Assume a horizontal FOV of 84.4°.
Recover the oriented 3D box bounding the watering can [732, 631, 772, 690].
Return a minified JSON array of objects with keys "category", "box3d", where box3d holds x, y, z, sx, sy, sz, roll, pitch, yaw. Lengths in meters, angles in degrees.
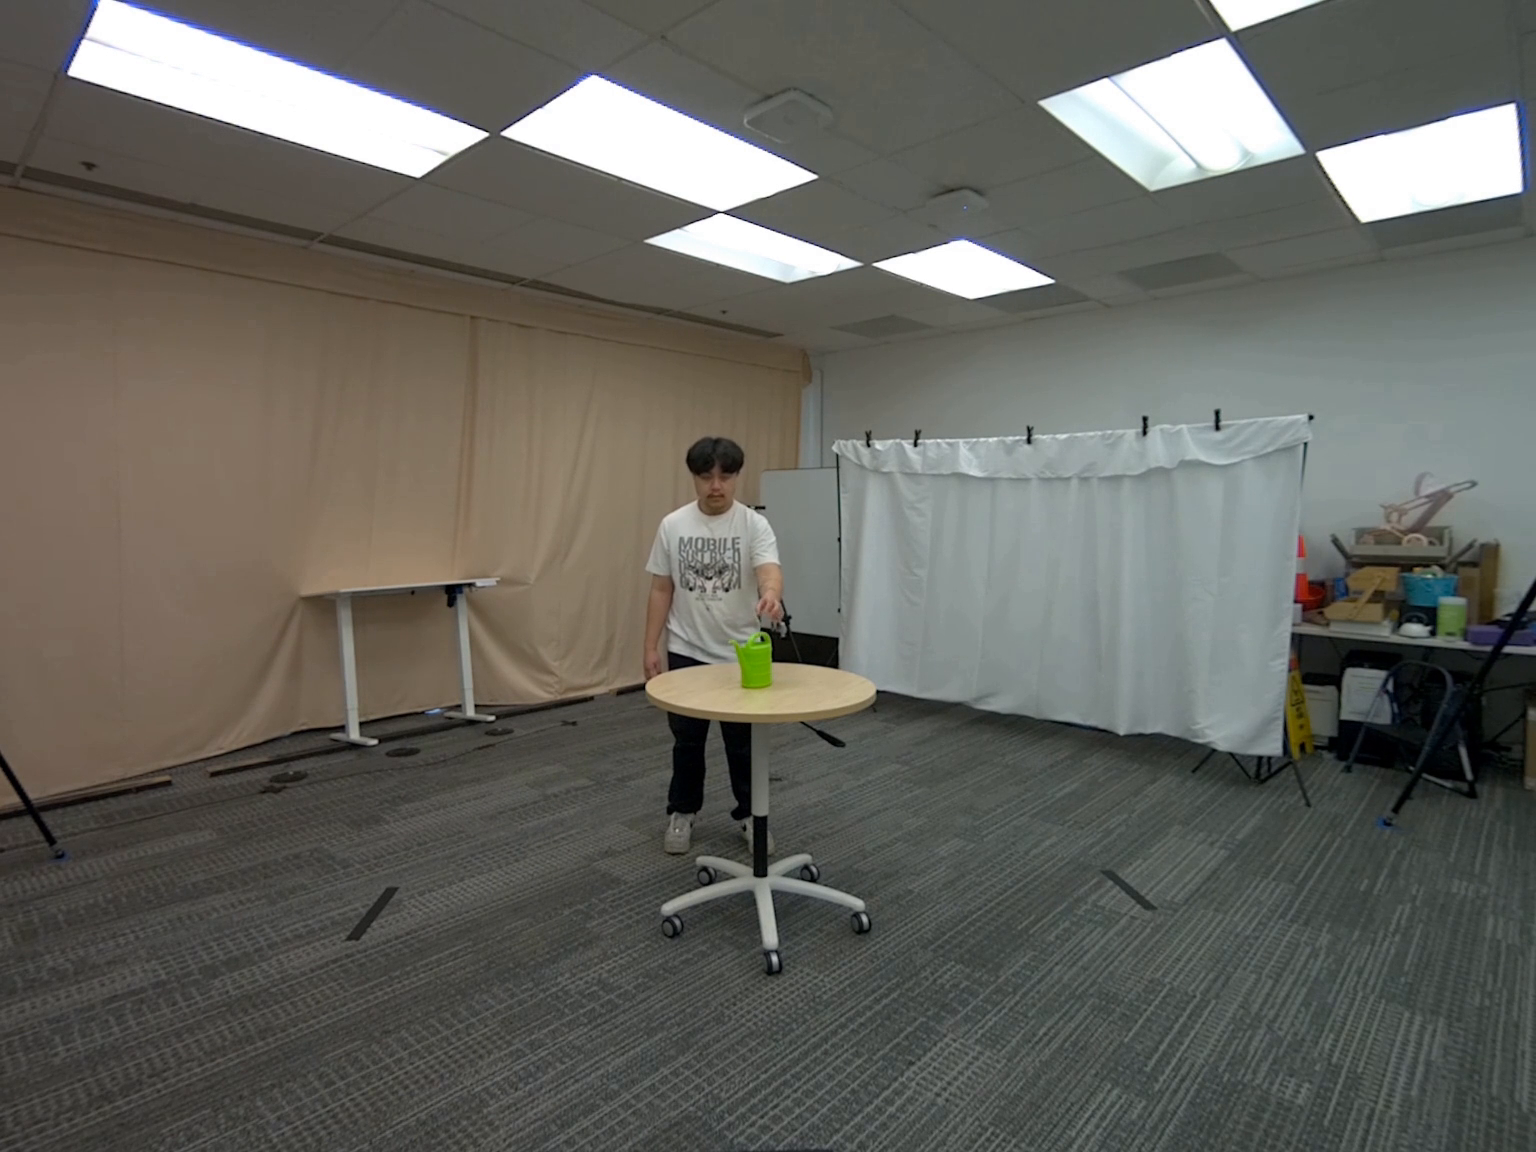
[{"category":"watering can","box3d":[-0.059,0.282,2.778,0.101,0.176,0.270,5,7,42]}]
